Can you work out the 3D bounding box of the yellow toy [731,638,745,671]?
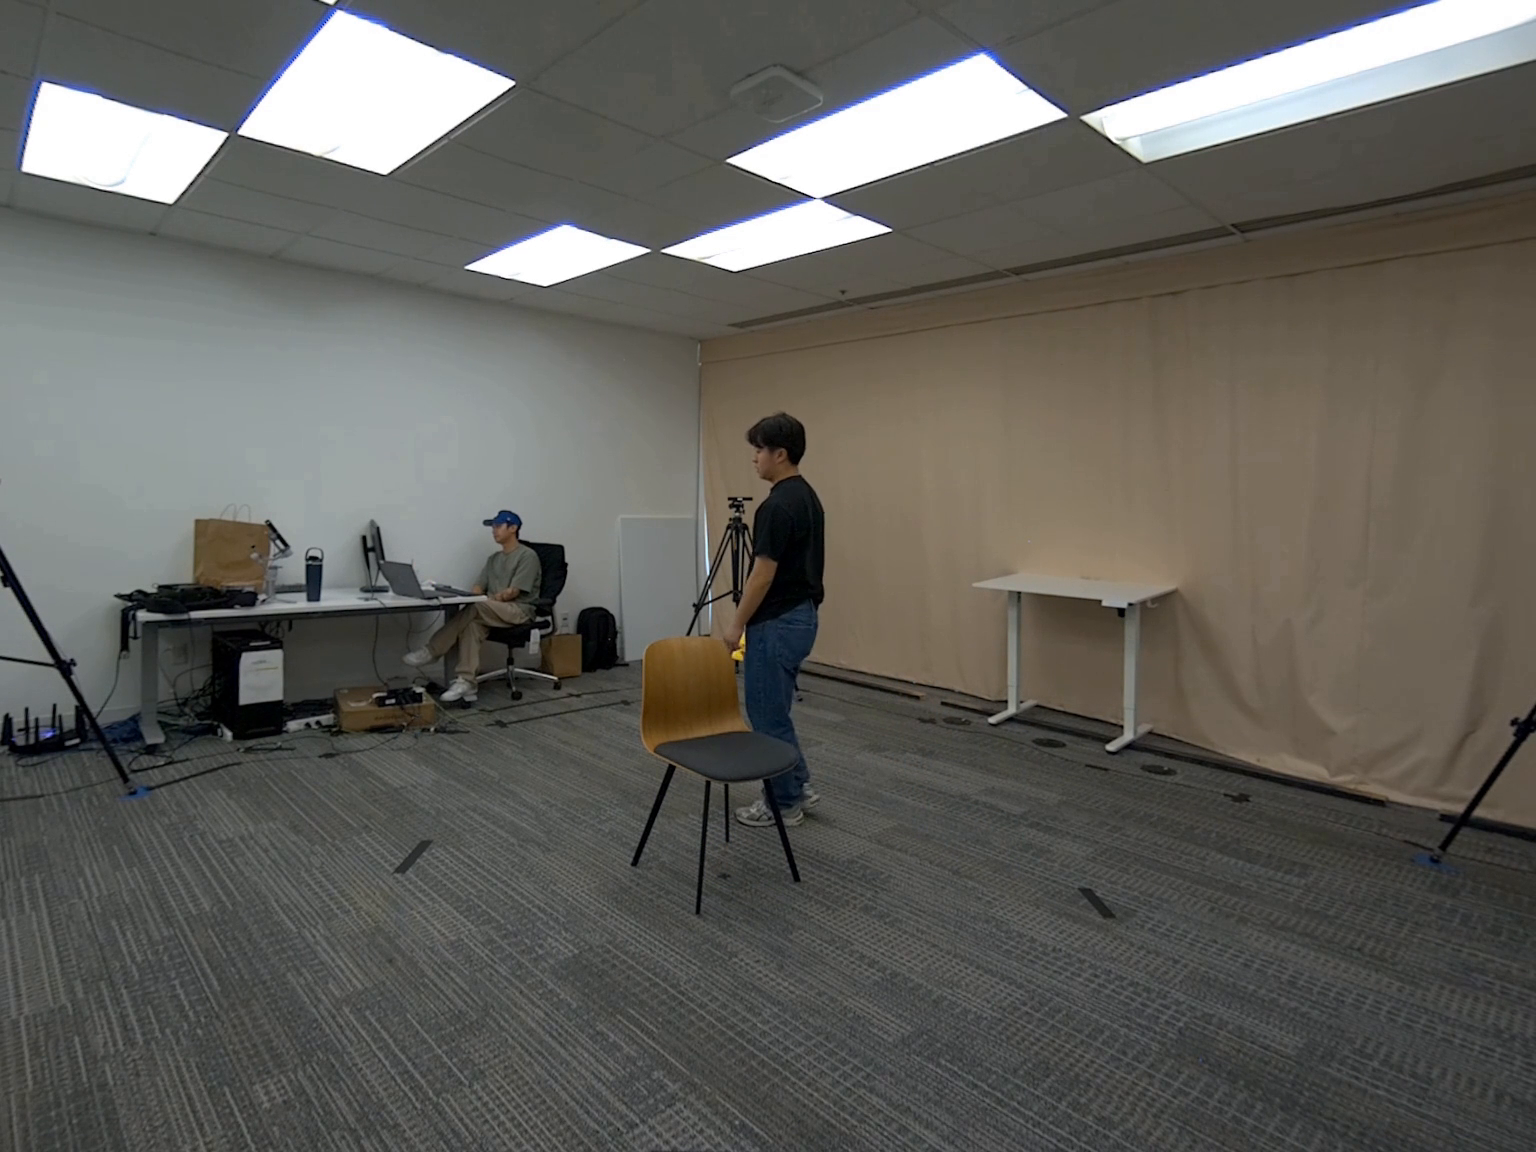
[{"bbox_3d":[-0.053,0.299,3.943,0.209,0.231,0.189,11,-3,21],"label":"yellow toy"}]
